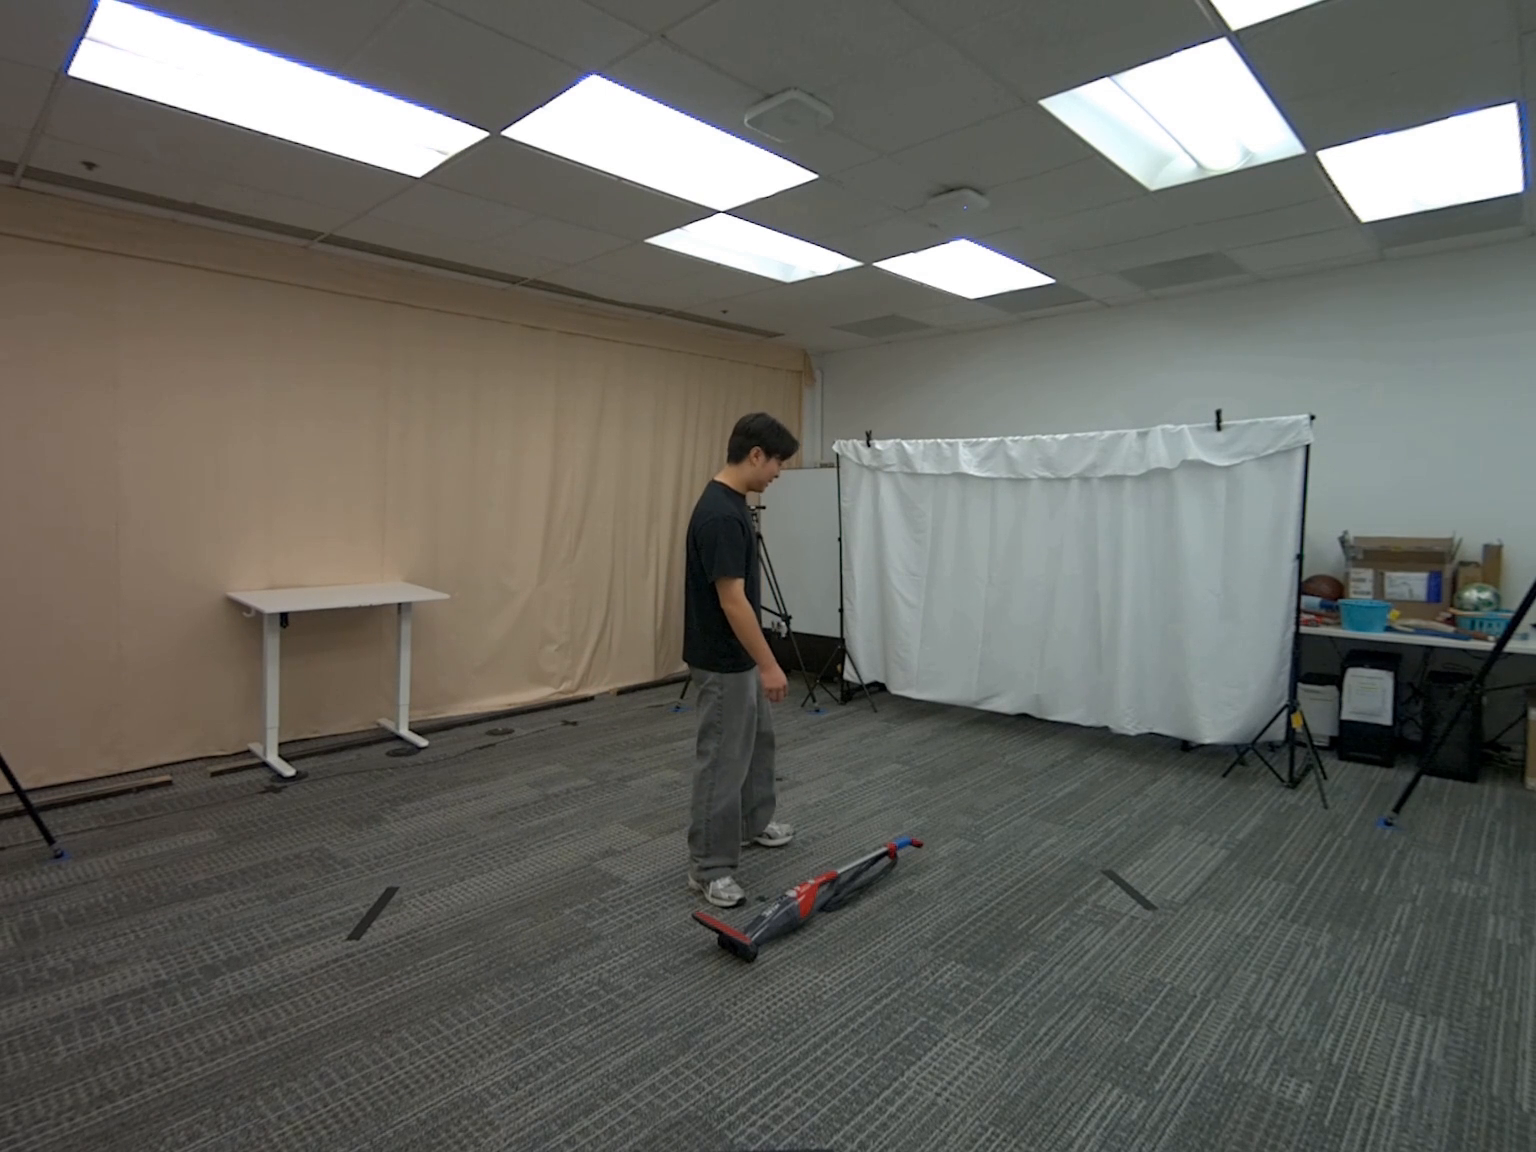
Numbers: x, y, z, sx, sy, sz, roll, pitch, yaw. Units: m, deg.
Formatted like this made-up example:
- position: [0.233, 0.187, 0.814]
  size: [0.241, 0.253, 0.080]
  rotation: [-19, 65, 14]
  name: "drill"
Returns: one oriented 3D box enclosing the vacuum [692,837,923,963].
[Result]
- position: [0.241, 1.090, 2.935]
  size: [1.017, 0.144, 0.261]
  rotation: [-4, 2, -44]
  name: "vacuum"
